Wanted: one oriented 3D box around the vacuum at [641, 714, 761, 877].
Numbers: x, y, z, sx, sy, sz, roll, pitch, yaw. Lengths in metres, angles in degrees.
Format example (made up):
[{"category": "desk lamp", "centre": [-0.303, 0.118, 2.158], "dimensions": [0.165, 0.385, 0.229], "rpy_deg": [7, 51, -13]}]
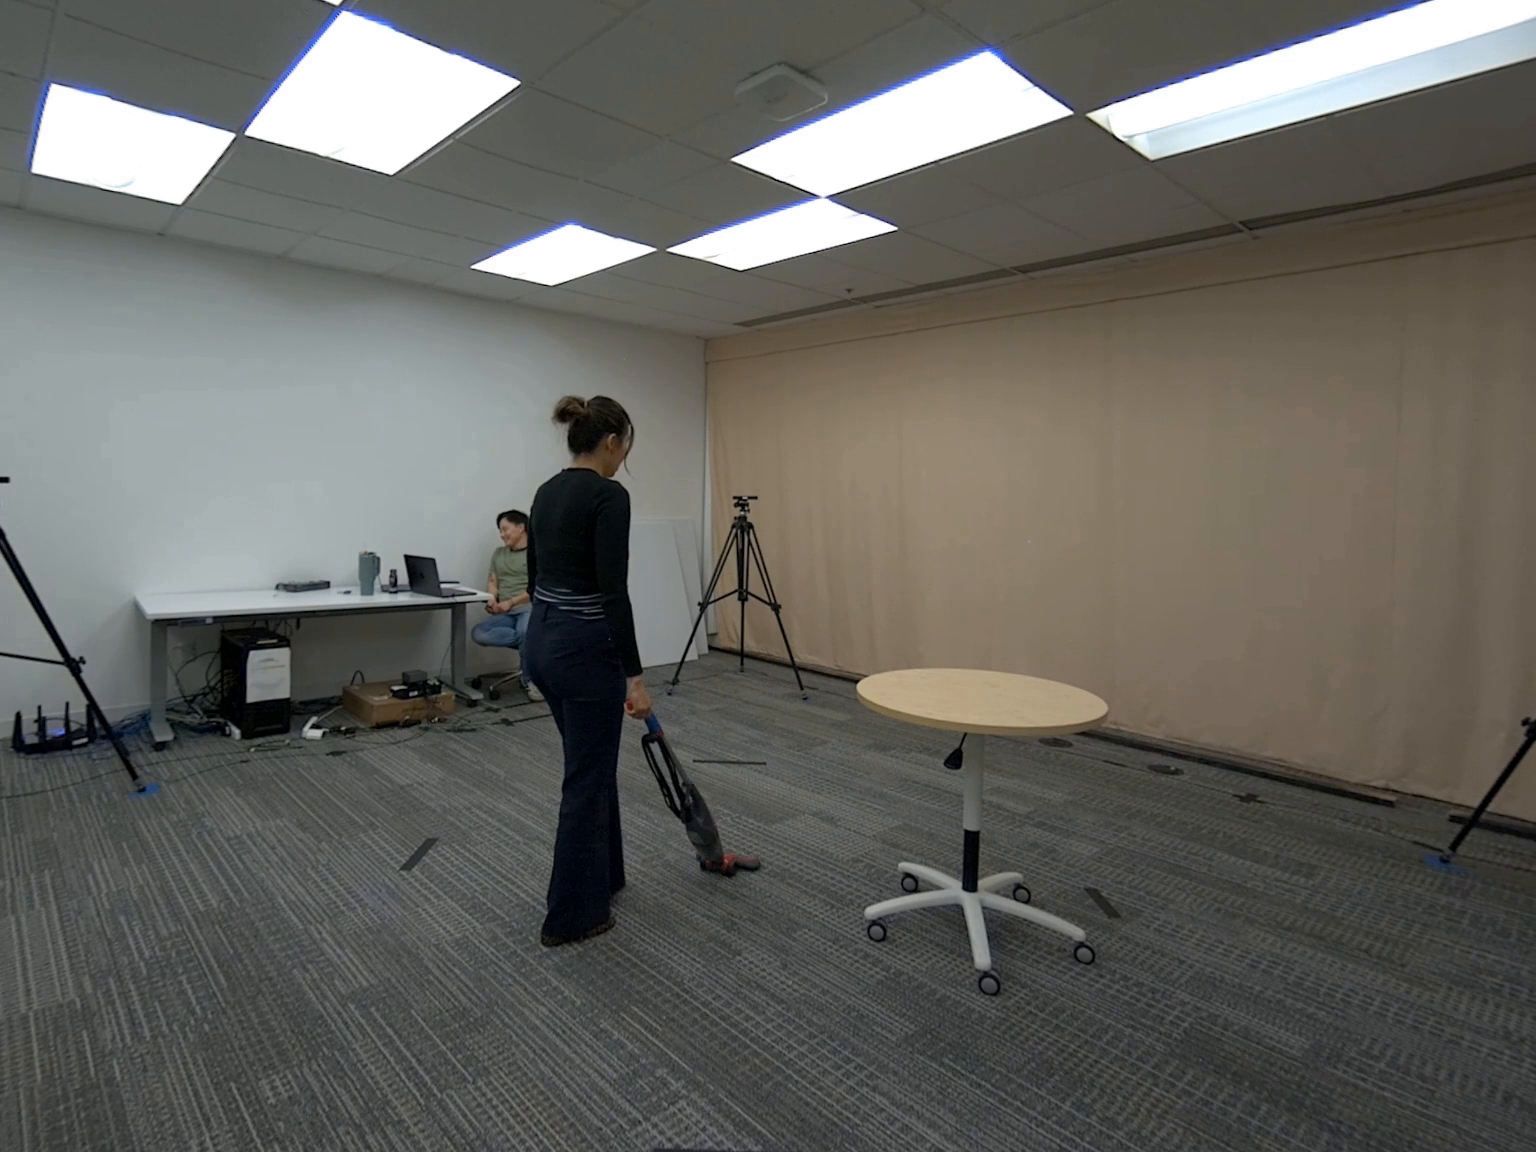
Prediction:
[{"category": "vacuum", "centre": [-0.280, 0.736, 2.838], "dimensions": [0.257, 1.020, 0.146], "rpy_deg": [2, 46, 20]}]
